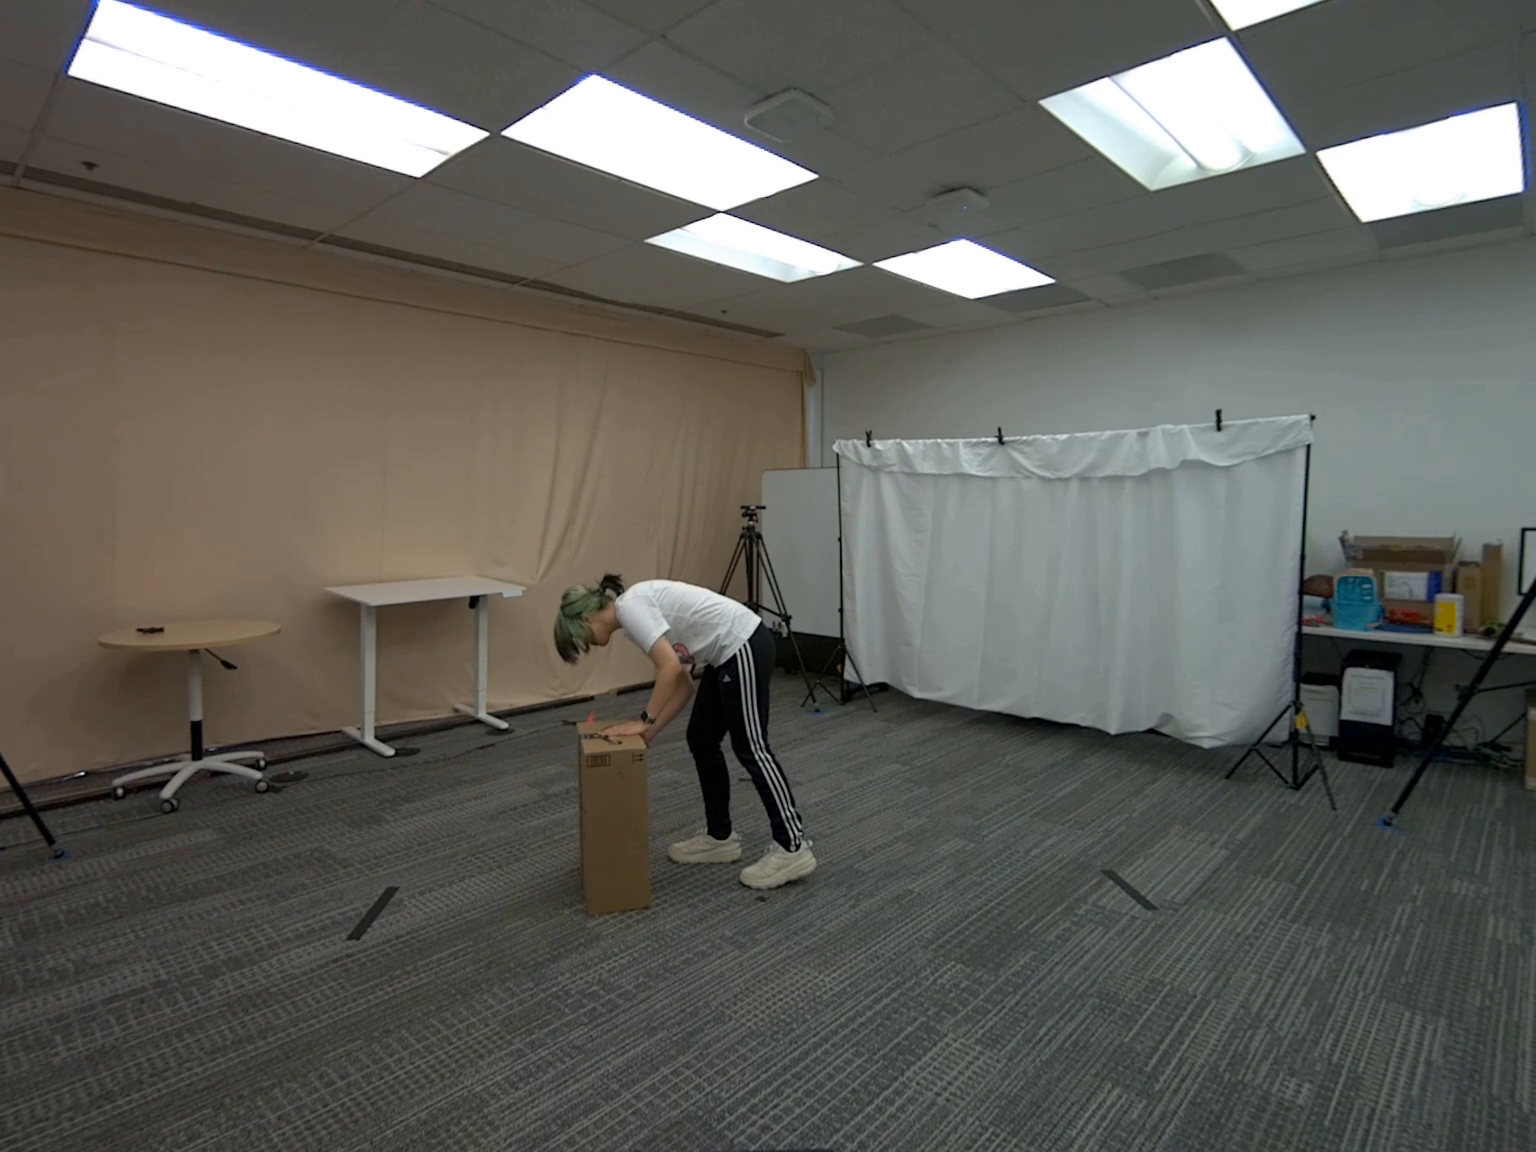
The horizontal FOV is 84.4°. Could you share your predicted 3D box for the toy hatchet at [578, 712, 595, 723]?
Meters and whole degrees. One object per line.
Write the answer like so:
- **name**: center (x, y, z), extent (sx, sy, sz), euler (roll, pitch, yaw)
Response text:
- **toy hatchet**: center (-0.603, 0.668, 3.279), extent (0.272, 0.131, 0.029), euler (28, -38, 5)
